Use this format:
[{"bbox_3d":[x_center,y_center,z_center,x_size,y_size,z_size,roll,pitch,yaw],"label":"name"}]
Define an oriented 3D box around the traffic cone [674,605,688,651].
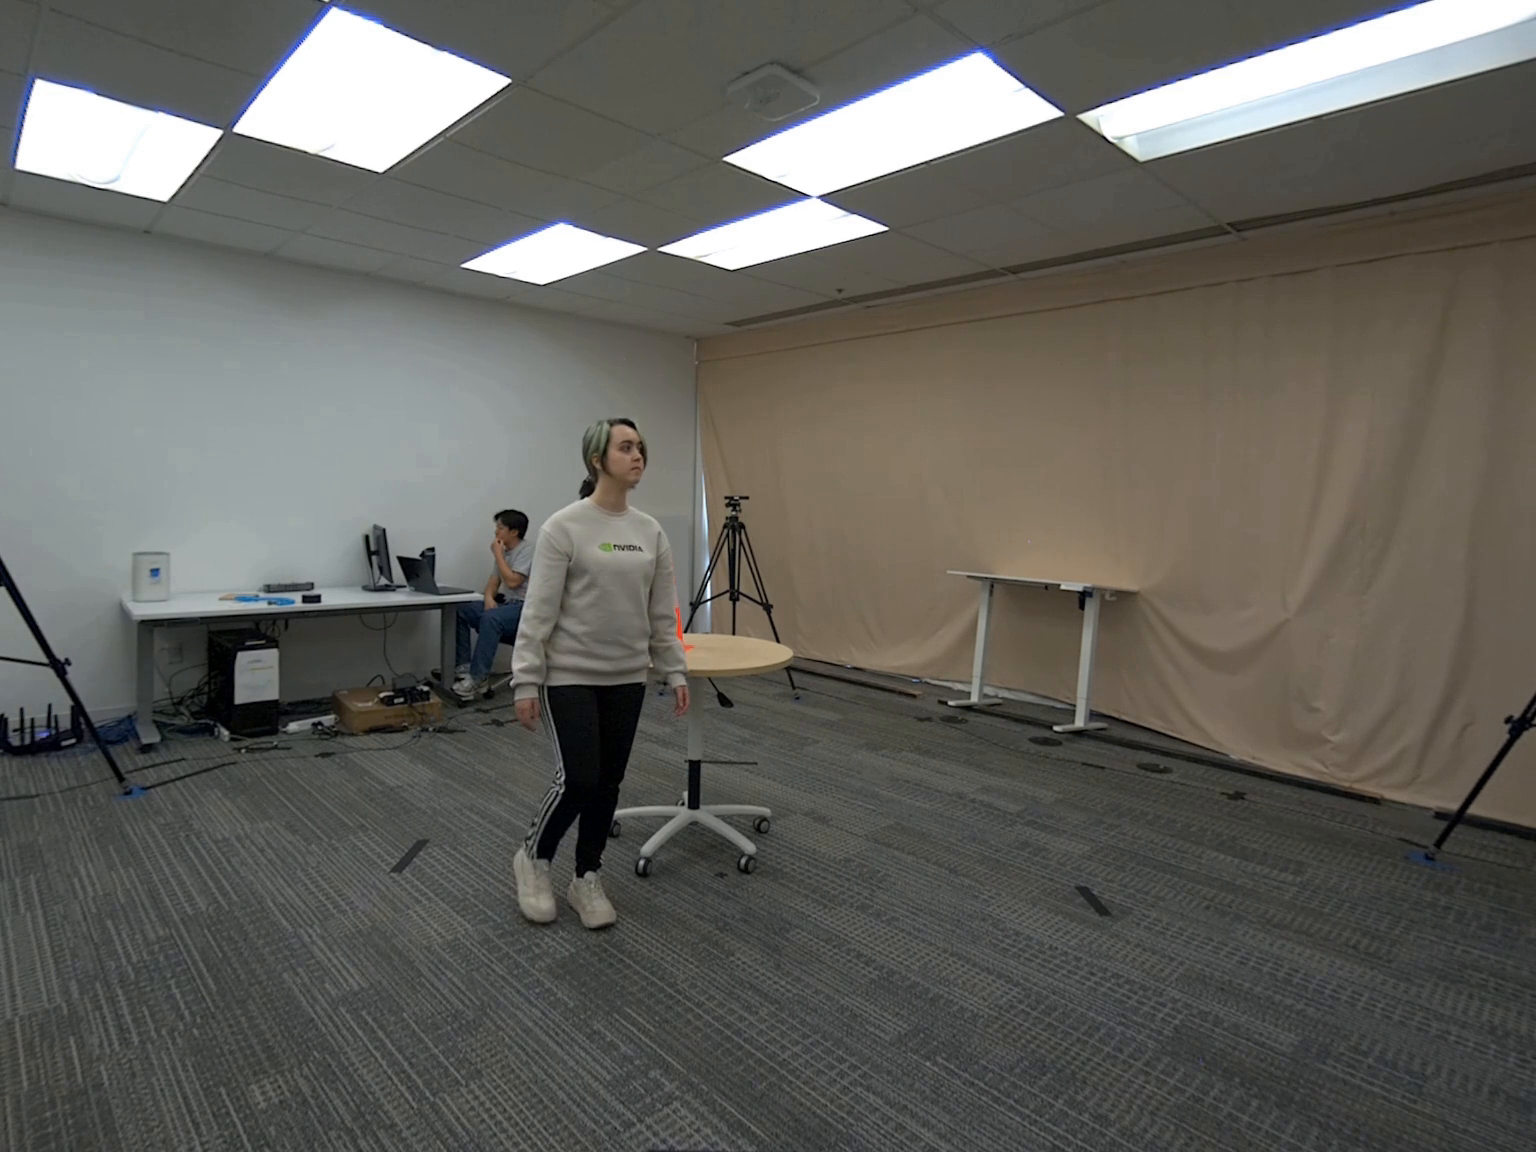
[{"bbox_3d":[-0.418,0.106,3.350,0.206,0.383,0.203,4,4,16],"label":"traffic cone"}]
